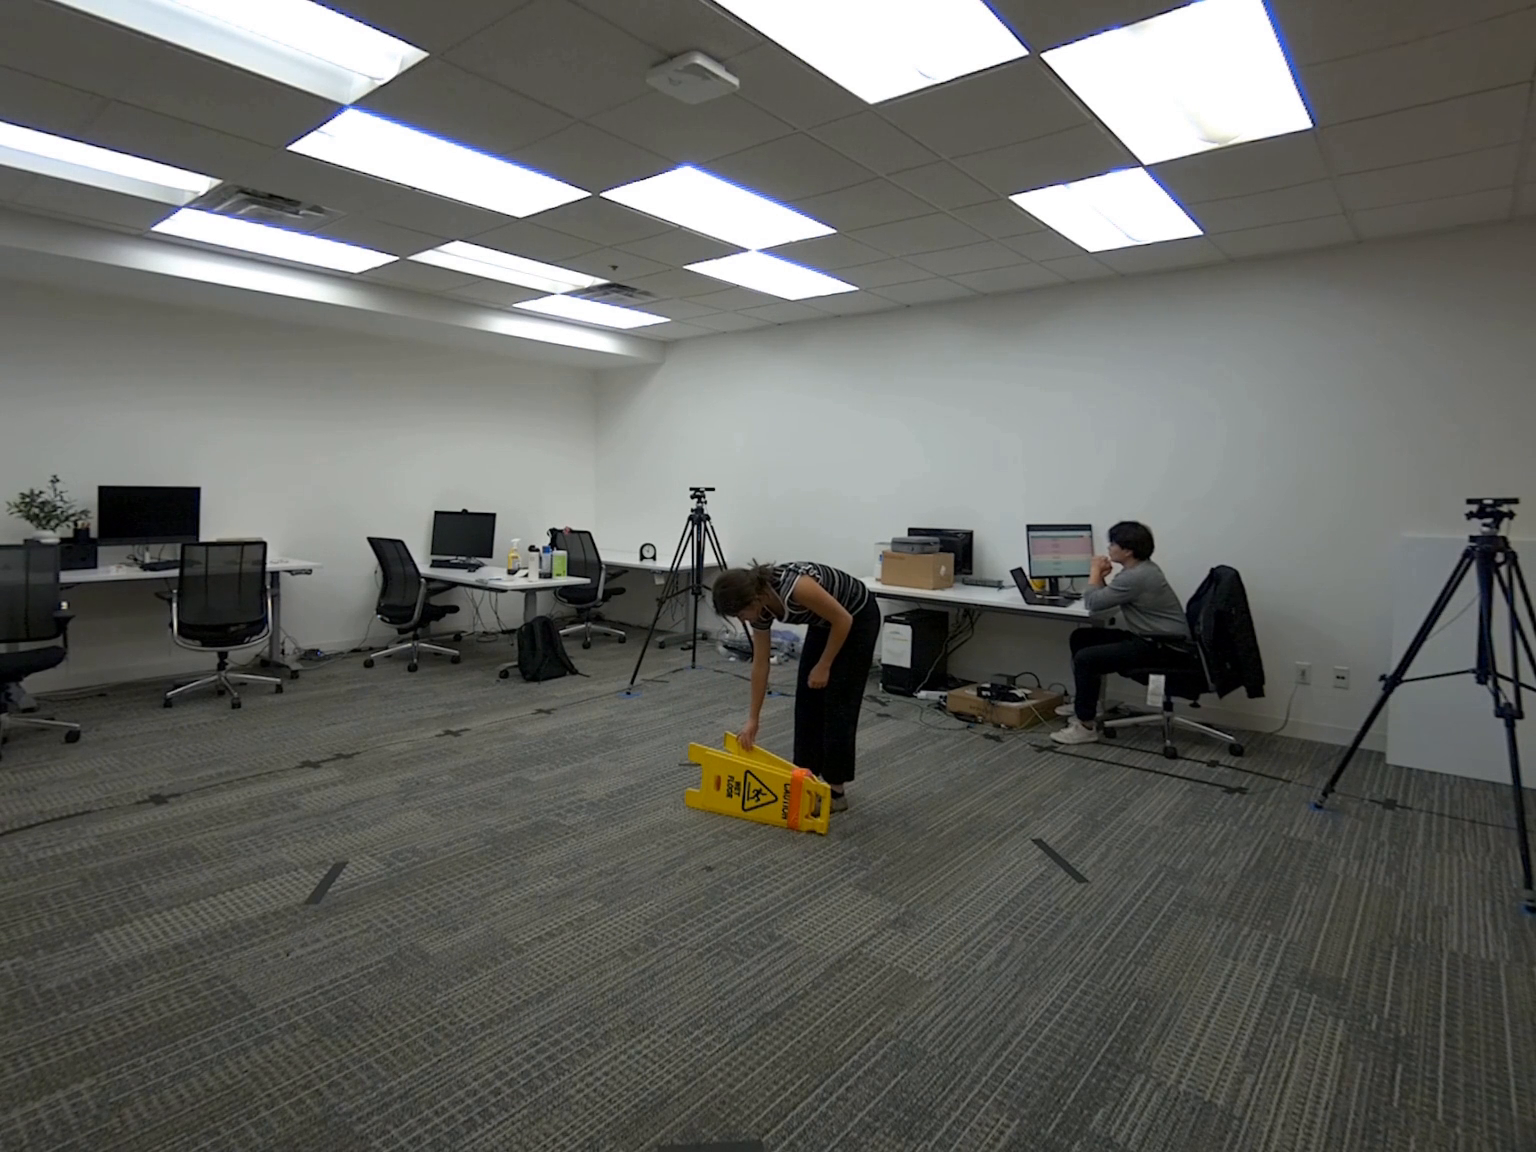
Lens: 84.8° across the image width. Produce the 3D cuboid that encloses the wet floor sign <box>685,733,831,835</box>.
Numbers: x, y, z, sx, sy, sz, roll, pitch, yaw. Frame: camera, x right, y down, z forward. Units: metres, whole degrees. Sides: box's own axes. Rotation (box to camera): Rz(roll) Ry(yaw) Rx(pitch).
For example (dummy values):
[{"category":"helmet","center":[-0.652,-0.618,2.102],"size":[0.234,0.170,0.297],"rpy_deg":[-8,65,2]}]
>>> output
[{"category":"wet floor sign","center":[-0.026,0.896,3.623],"size":[0.668,0.281,0.281],"rpy_deg":[9,6,37]}]
